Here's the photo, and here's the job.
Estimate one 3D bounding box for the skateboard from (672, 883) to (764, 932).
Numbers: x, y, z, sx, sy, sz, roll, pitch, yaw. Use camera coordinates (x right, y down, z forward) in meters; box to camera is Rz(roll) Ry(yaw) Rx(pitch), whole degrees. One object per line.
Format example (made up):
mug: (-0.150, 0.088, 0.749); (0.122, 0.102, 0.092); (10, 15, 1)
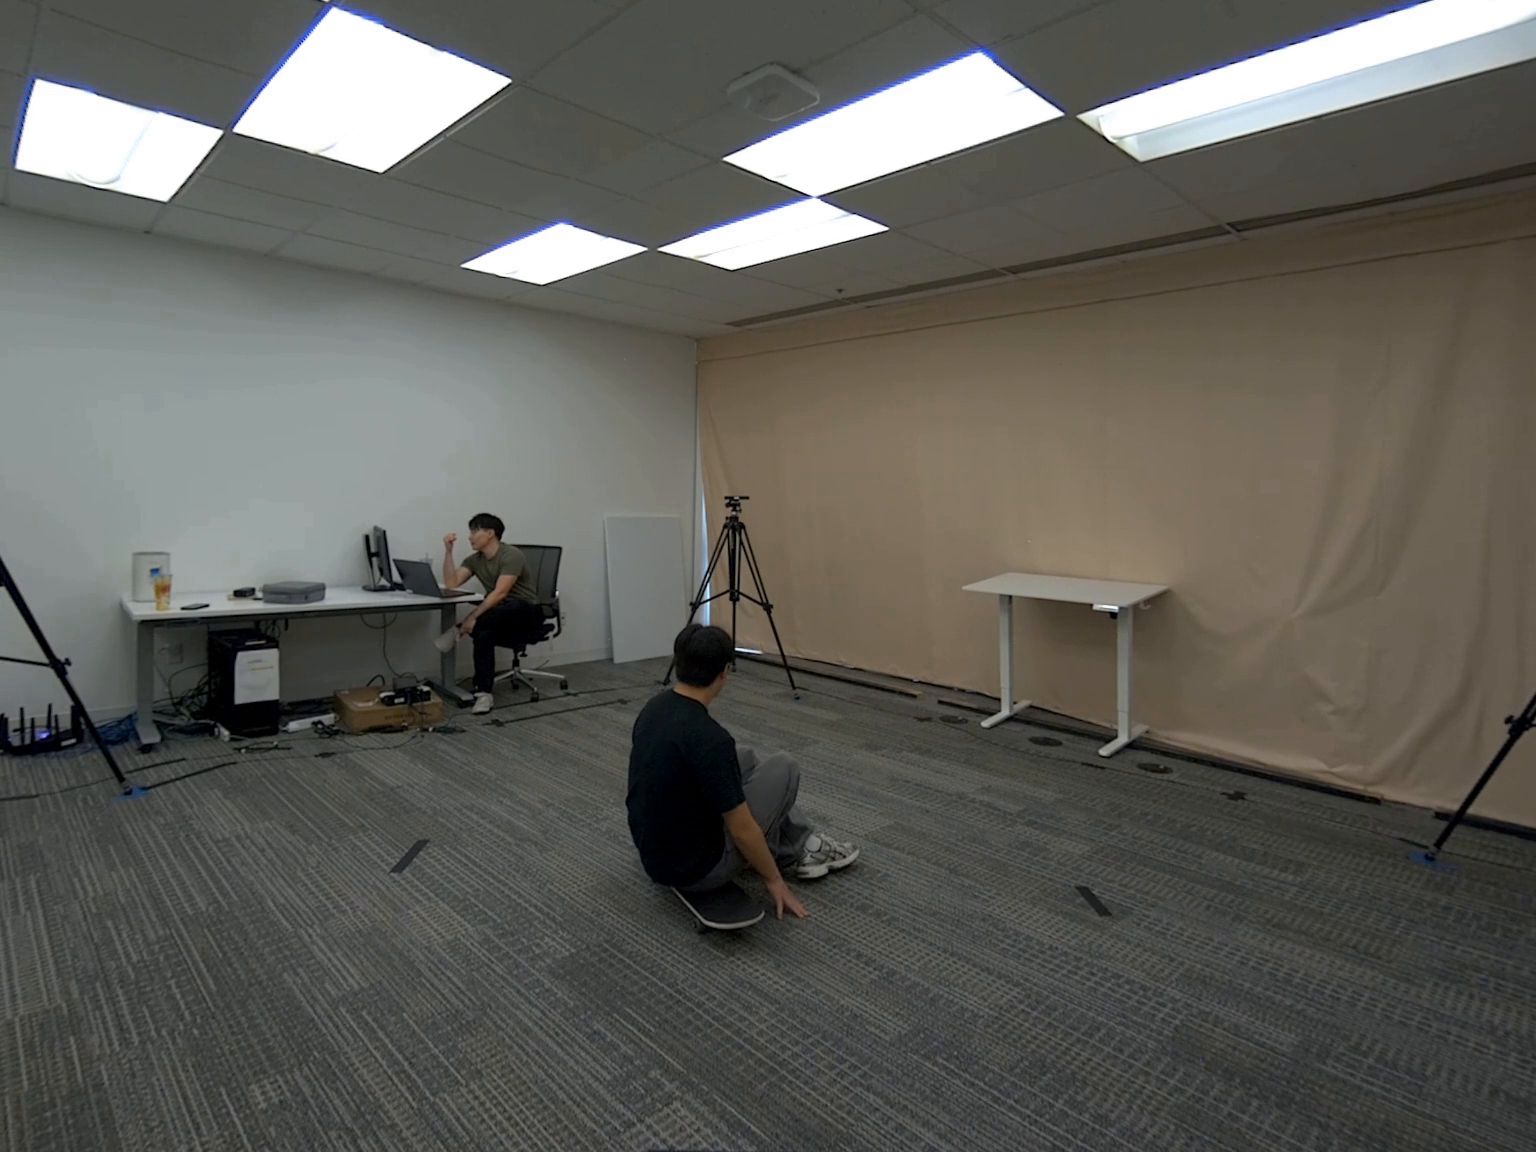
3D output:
skateboard: (-0.254, 1.066, 2.901); (0.190, 0.110, 0.803); (-8, 9, -28)
